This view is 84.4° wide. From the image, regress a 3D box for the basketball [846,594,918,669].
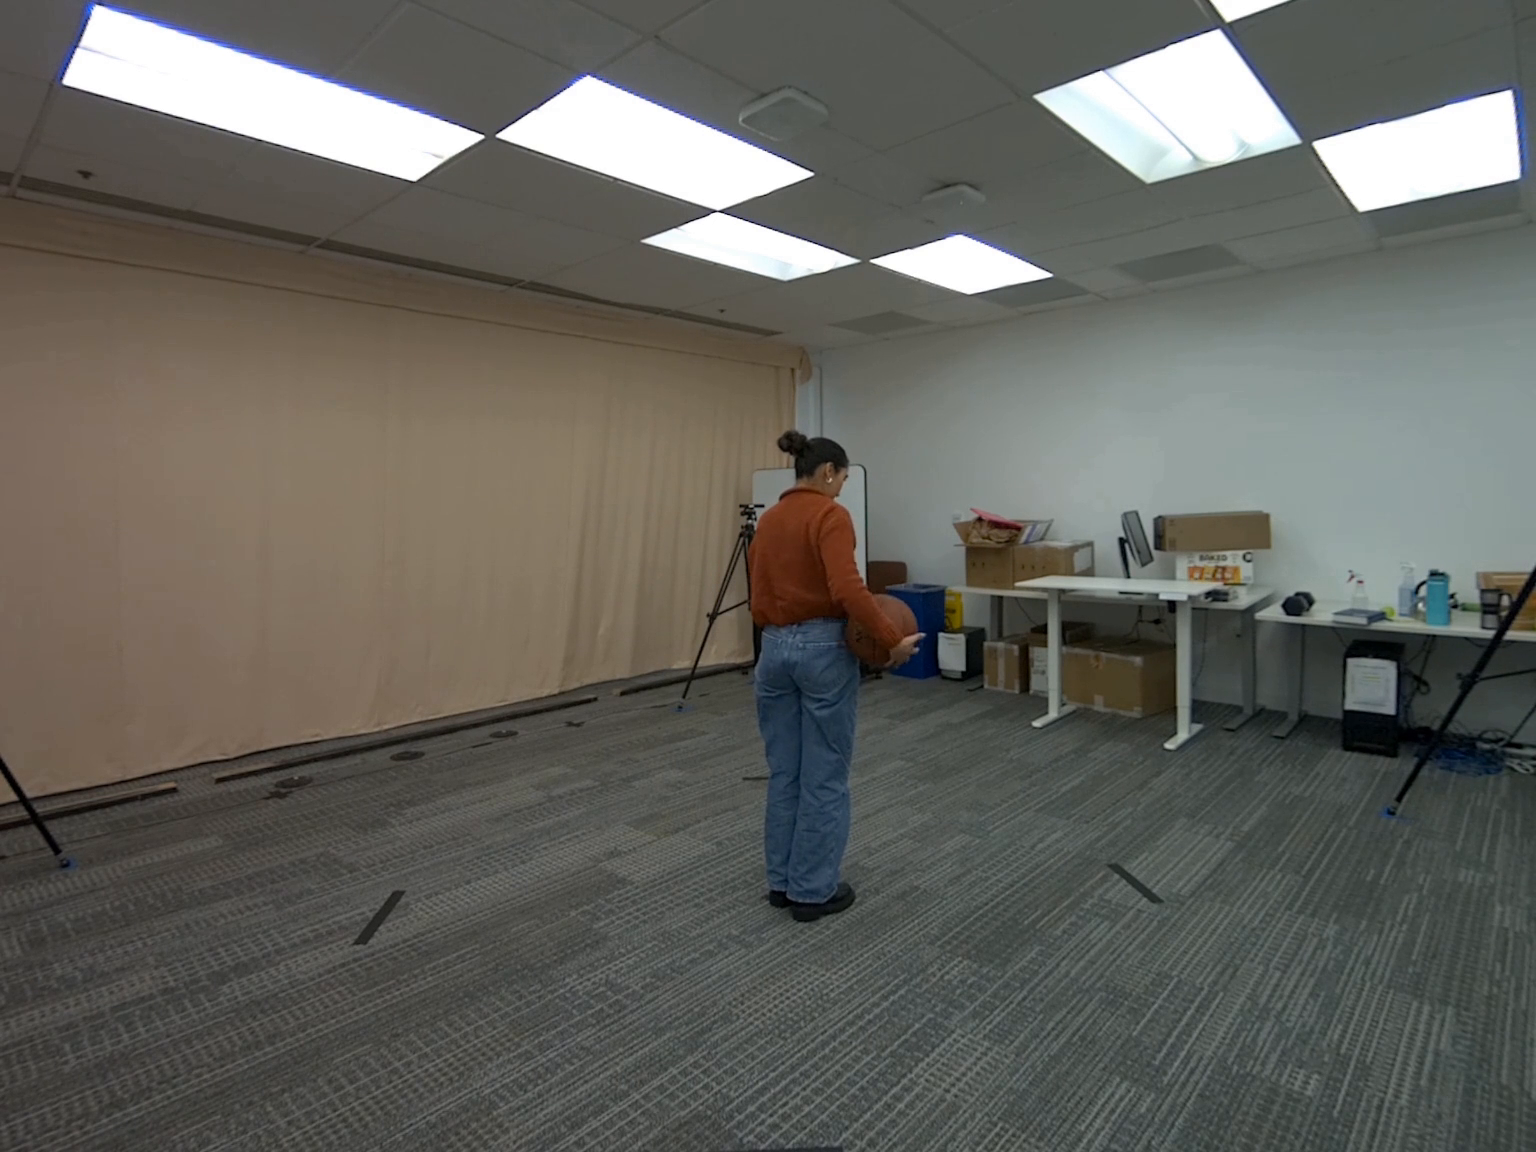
[{"bbox_3d":[0.380,0.171,2.759,0.236,0.235,0.237,-1,4,-2],"label":"basketball"}]
